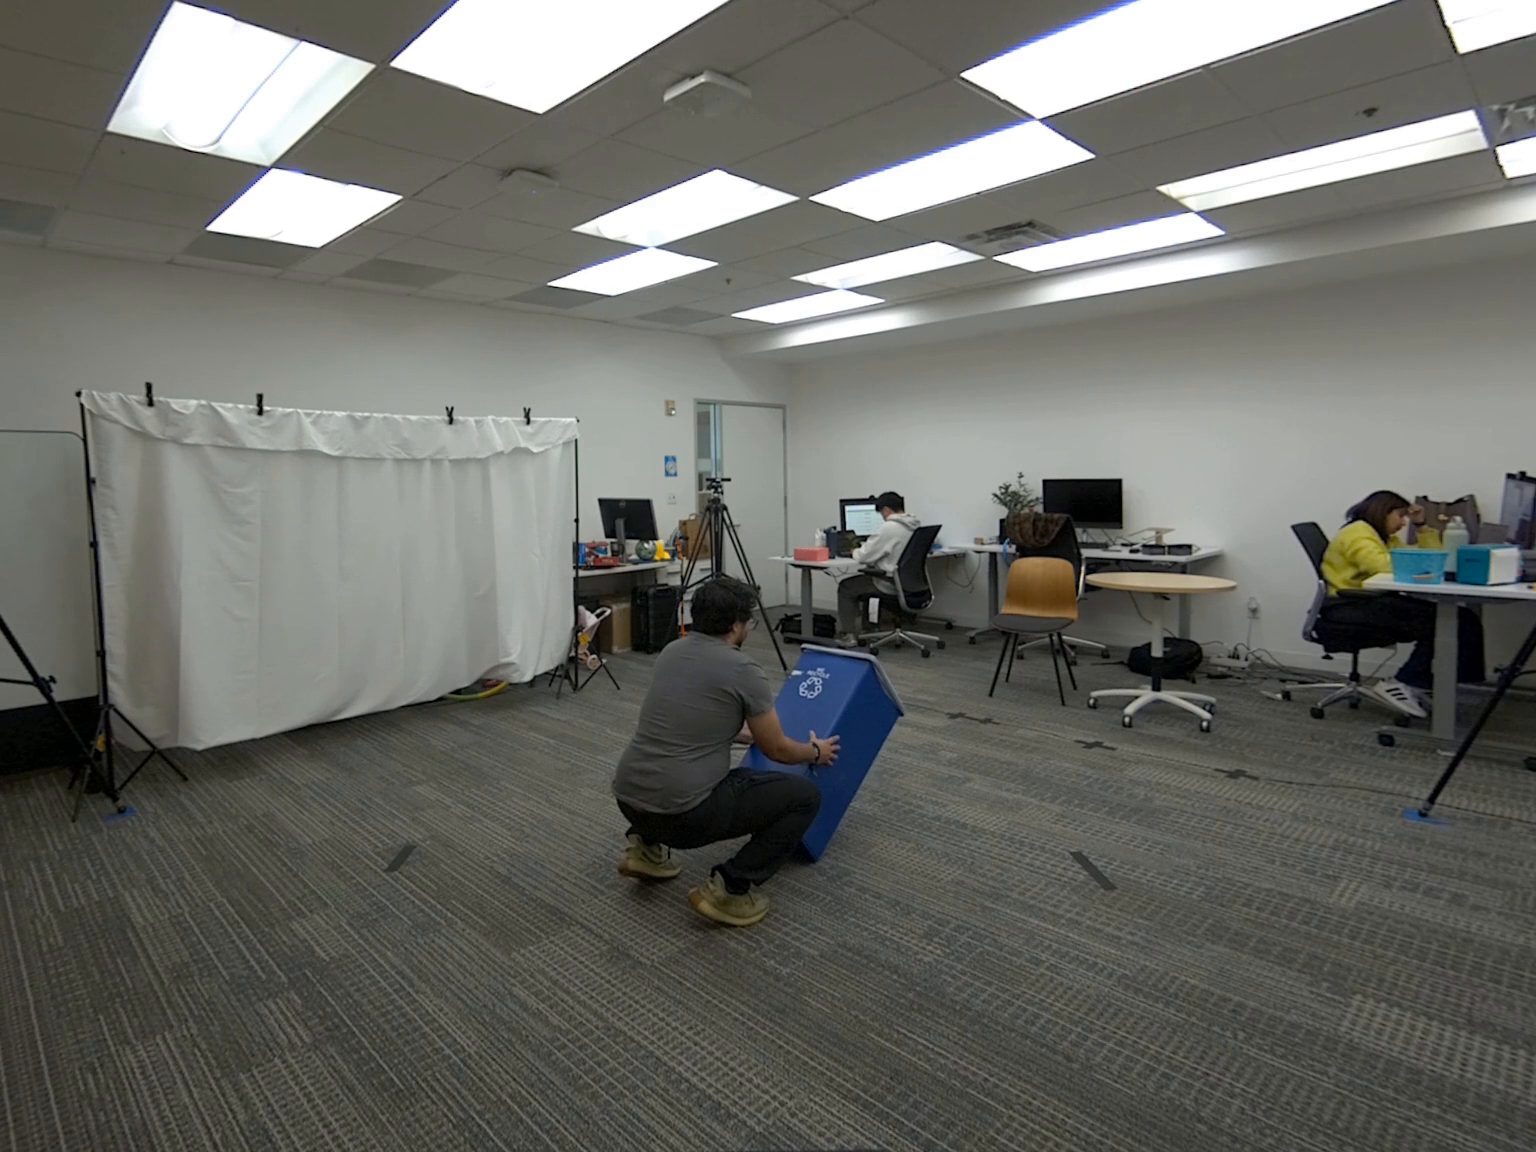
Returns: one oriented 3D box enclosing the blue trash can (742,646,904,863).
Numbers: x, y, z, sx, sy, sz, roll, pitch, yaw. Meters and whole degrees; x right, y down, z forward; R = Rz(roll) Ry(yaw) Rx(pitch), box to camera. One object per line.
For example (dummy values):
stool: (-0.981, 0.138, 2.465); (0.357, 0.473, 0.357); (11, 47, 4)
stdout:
blue trash can: (0.187, 0.672, 3.300); (0.385, 0.365, 0.717); (3, 48, 41)
